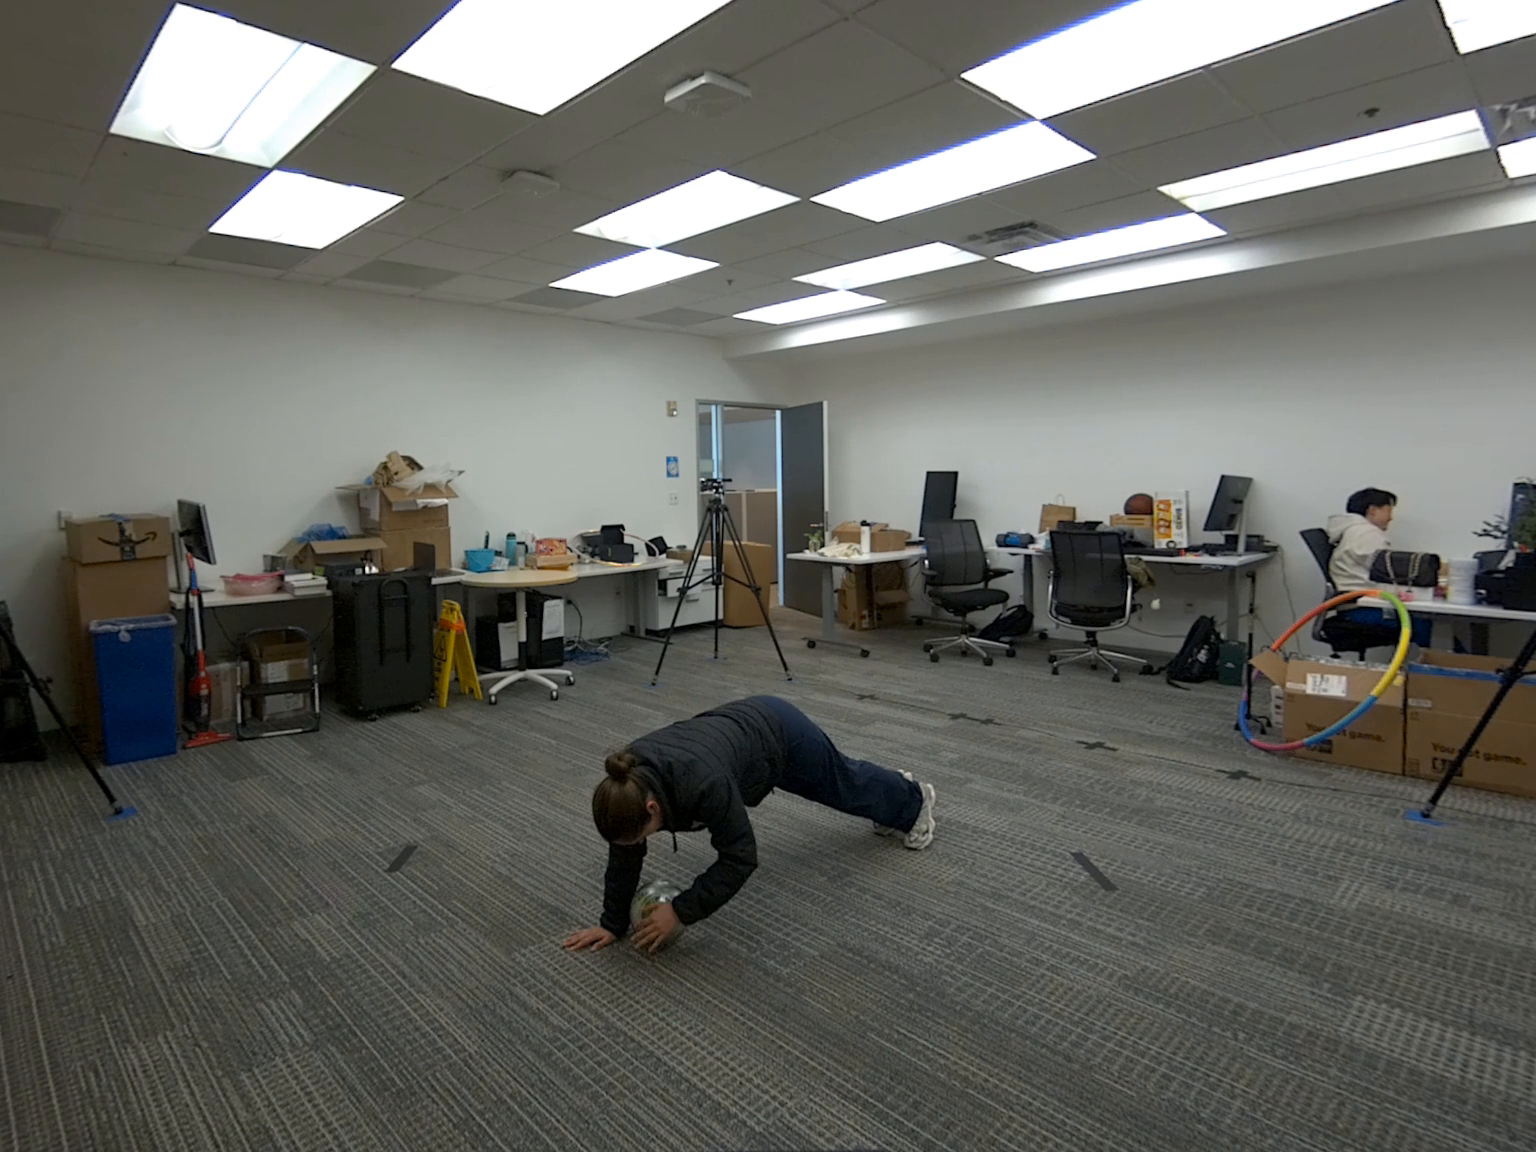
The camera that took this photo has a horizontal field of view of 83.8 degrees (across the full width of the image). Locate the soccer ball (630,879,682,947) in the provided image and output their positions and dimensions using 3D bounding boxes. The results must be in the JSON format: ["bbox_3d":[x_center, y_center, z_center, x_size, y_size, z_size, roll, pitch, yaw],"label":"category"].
[{"bbox_3d":[-0.316,1.018,2.593,0.187,0.187,0.188,-1,5,-2],"label":"soccer ball"}]
